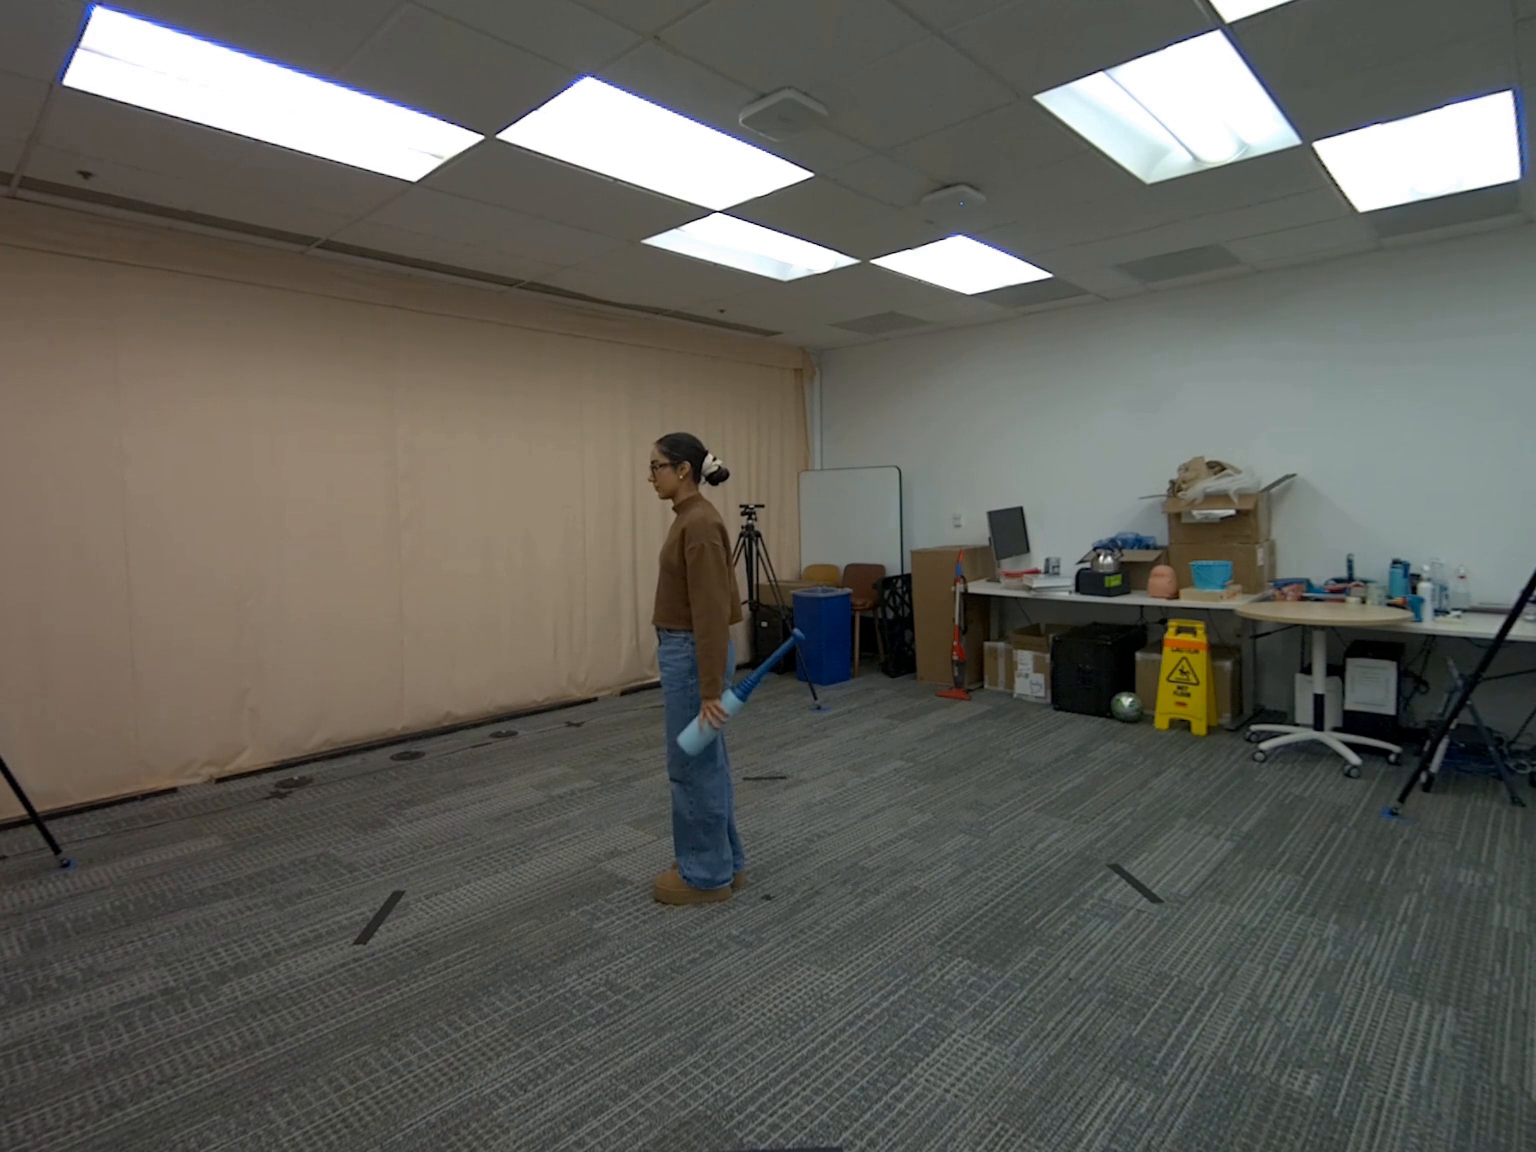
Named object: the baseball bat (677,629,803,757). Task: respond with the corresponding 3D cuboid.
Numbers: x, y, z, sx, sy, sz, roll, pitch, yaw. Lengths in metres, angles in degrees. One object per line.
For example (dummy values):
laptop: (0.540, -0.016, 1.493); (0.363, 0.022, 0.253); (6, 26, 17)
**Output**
baseball bat: (-0.096, 0.375, 2.757); (0.543, 0.089, 0.089); (-44, 4, 2)
